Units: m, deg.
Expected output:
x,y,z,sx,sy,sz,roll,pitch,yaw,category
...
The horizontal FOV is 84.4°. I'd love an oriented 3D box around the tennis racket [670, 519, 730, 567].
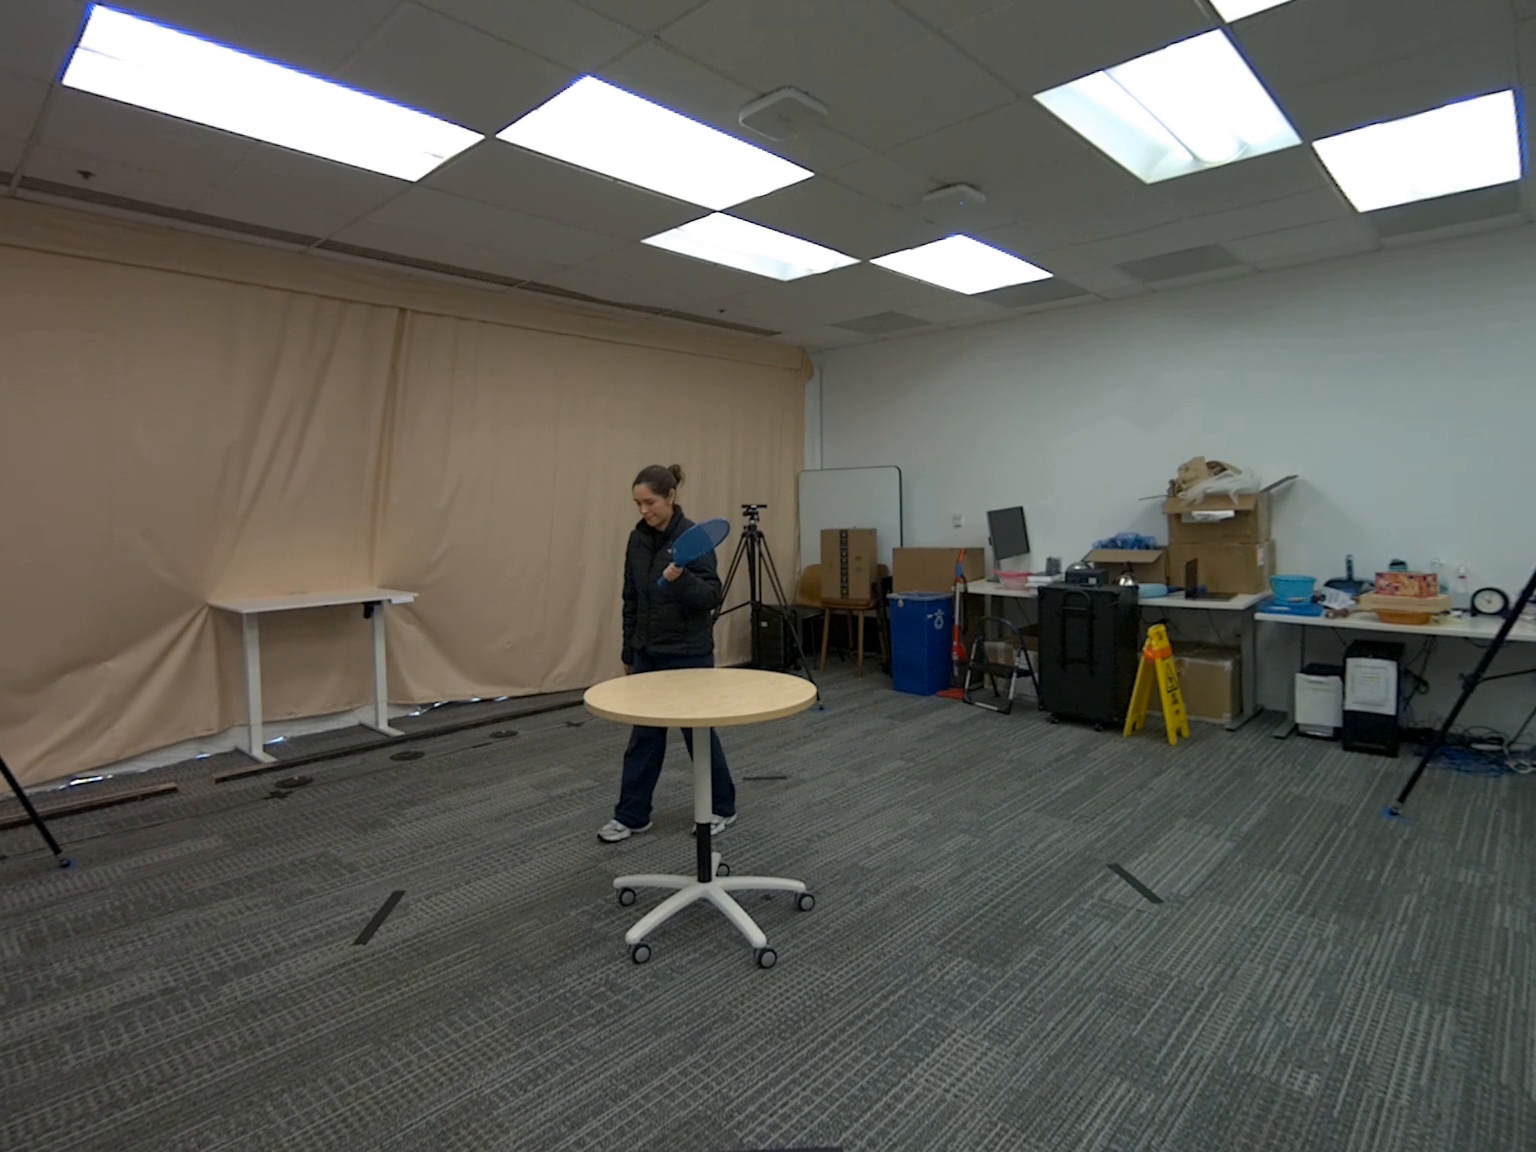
x,y,z,sx,sy,sz,roll,pitch,yaw,category
-0.312,-0.087,3.140,0.207,0.032,0.436,-6,-29,-39,tennis racket
